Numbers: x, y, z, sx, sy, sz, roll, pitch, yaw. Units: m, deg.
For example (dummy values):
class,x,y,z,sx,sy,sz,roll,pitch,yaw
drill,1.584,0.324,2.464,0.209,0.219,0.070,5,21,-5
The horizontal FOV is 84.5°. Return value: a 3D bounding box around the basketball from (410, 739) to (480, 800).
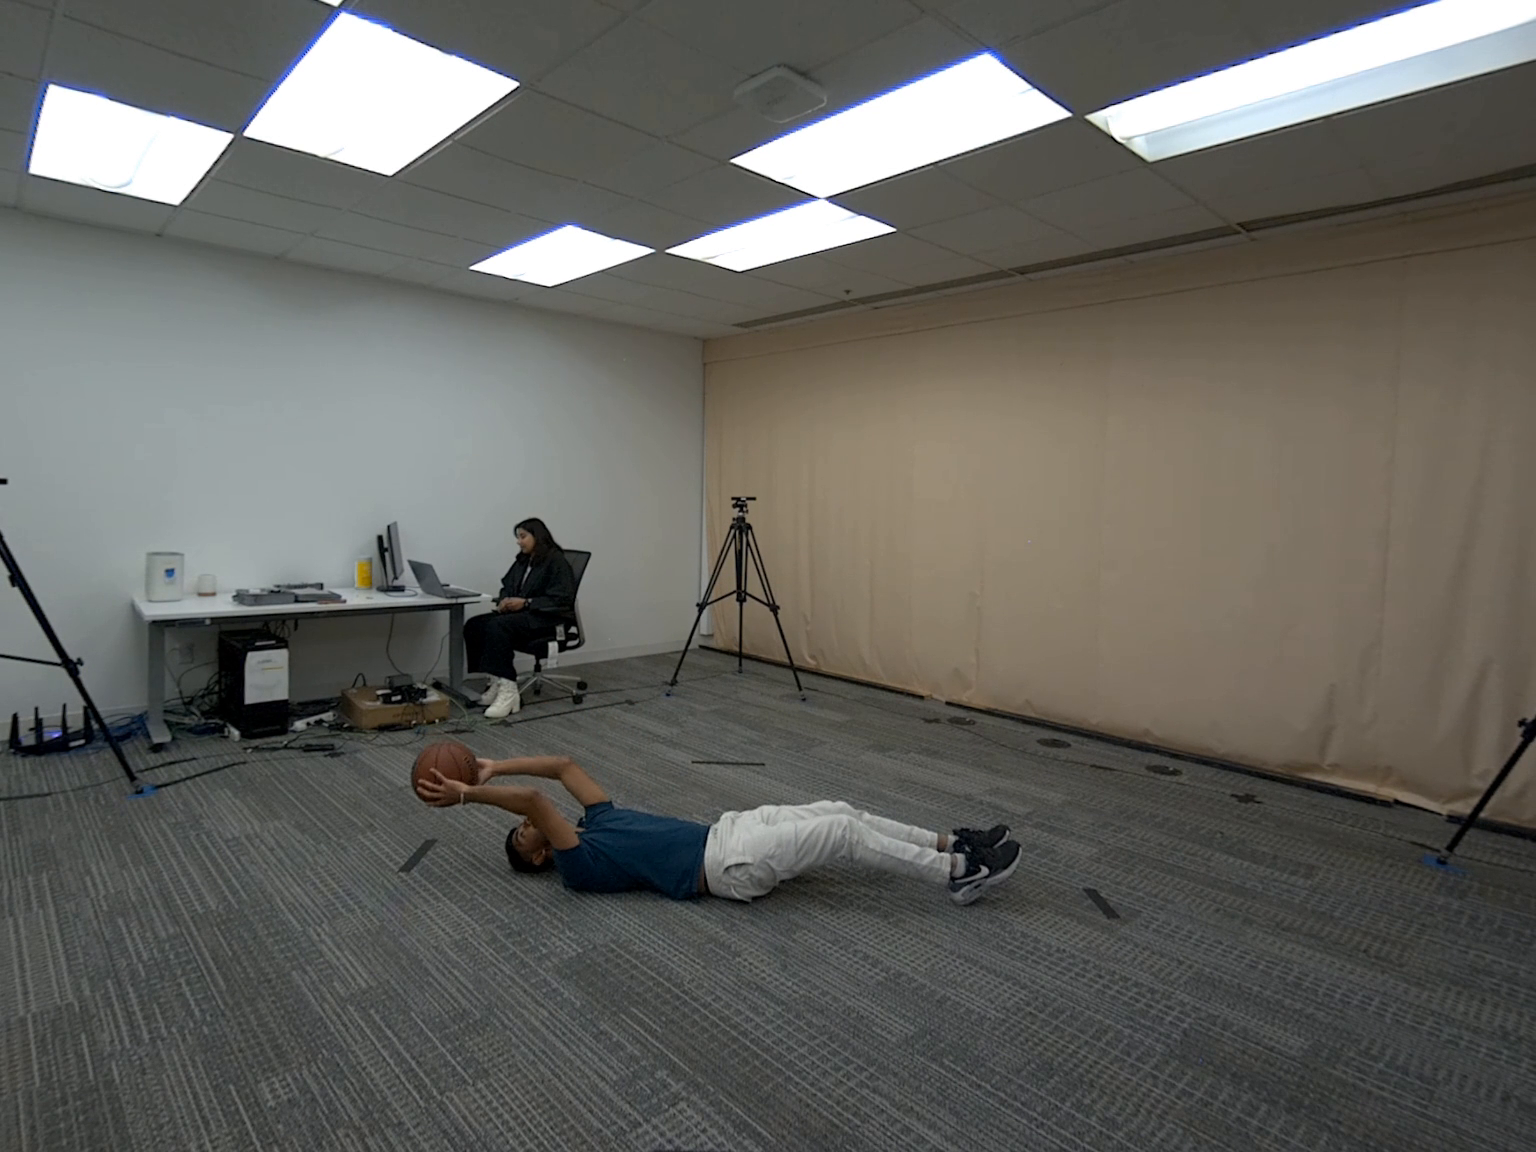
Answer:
class,x,y,z,sx,sy,sz,roll,pitch,yaw
basketball,-1.196,0.731,3.117,0.236,0.235,0.237,1,4,-1
